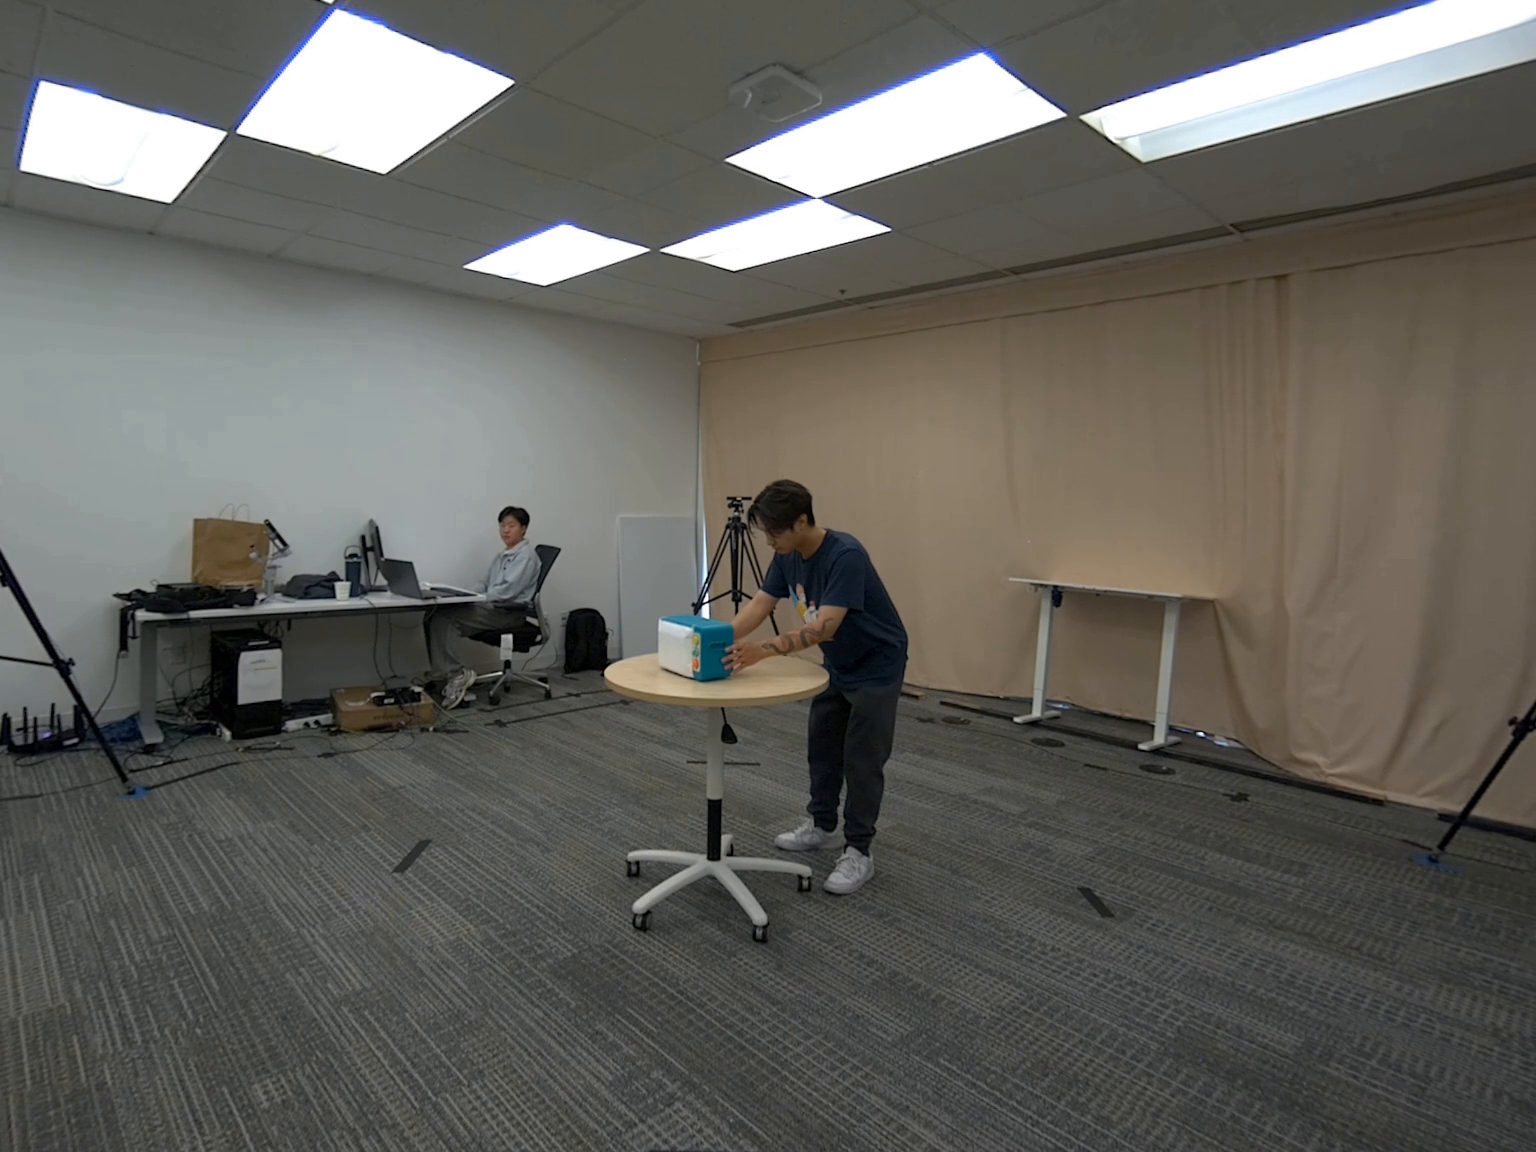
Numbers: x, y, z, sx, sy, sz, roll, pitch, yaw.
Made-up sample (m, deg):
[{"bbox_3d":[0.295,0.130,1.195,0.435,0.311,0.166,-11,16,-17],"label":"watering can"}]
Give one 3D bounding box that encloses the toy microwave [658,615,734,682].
[{"bbox_3d":[-0.257,0.240,2.825,0.149,0.183,0.293,-3,7,-37],"label":"toy microwave"}]
